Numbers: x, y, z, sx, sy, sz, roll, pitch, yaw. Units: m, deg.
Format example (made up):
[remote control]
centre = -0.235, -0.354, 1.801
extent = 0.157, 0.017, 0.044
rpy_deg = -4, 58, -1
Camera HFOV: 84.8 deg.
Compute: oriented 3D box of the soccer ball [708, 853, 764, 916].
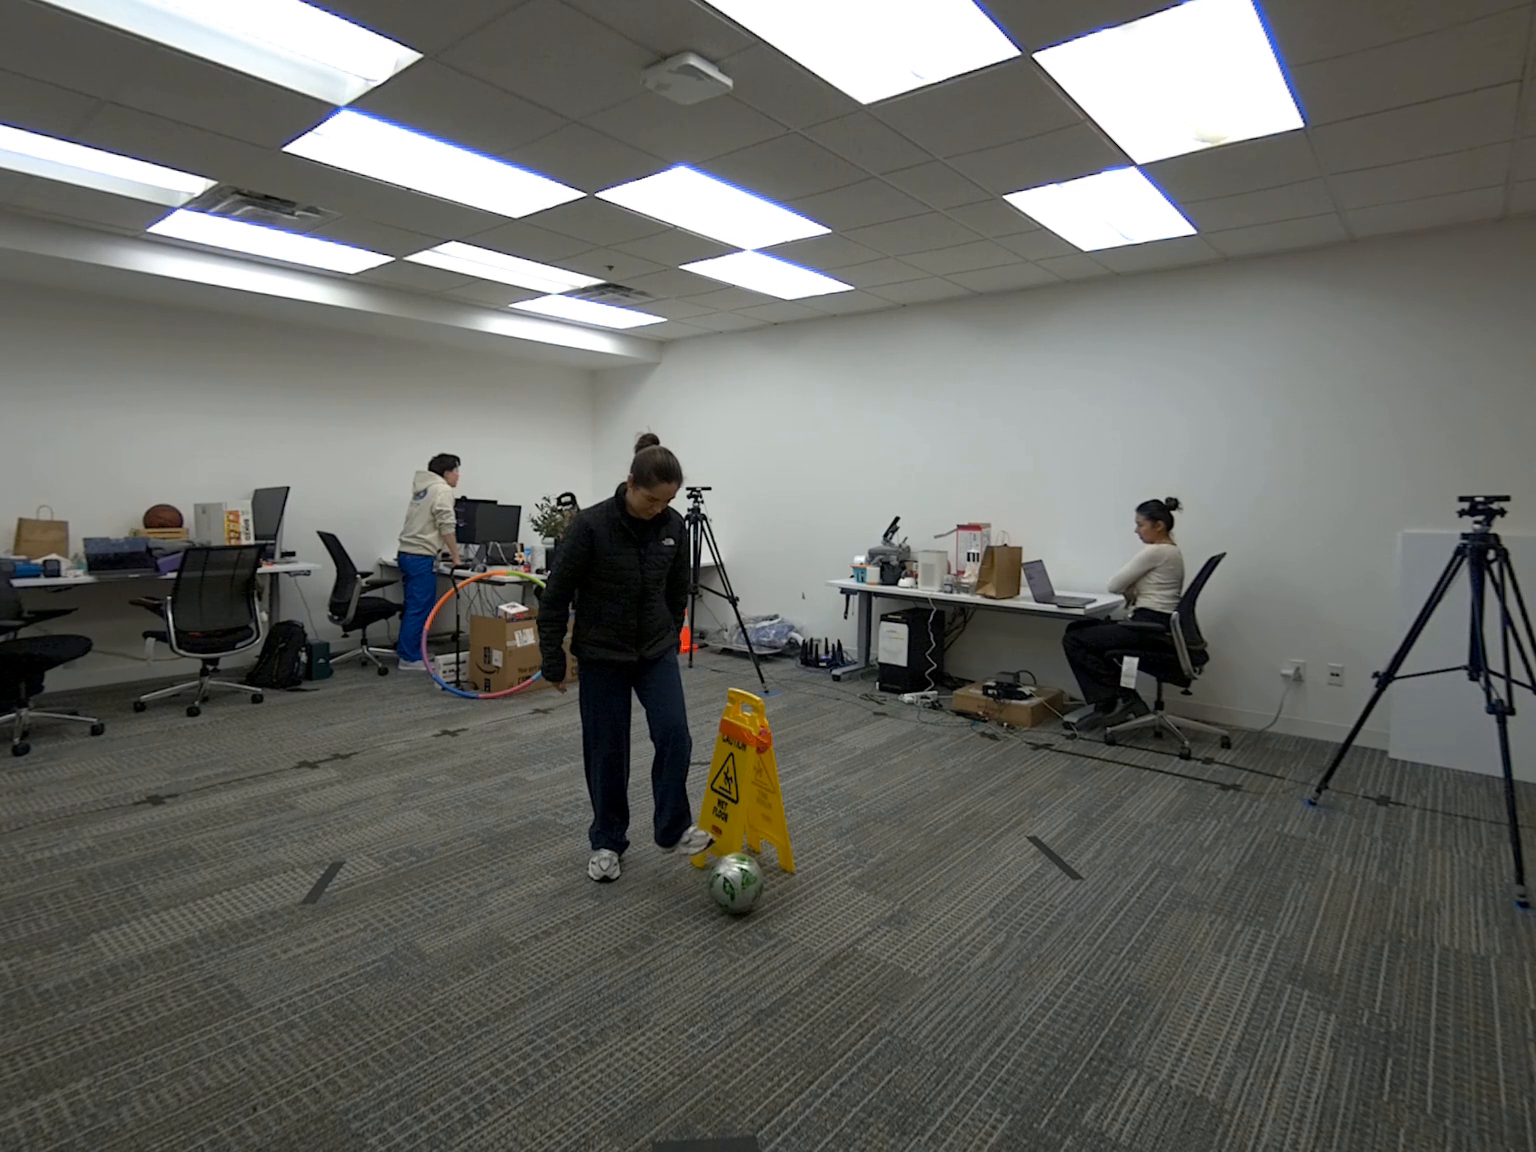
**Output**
[soccer ball]
centre = -0.119, 1.002, 2.796
extent = 0.187, 0.187, 0.188
rpy_deg = 1, 4, -2
